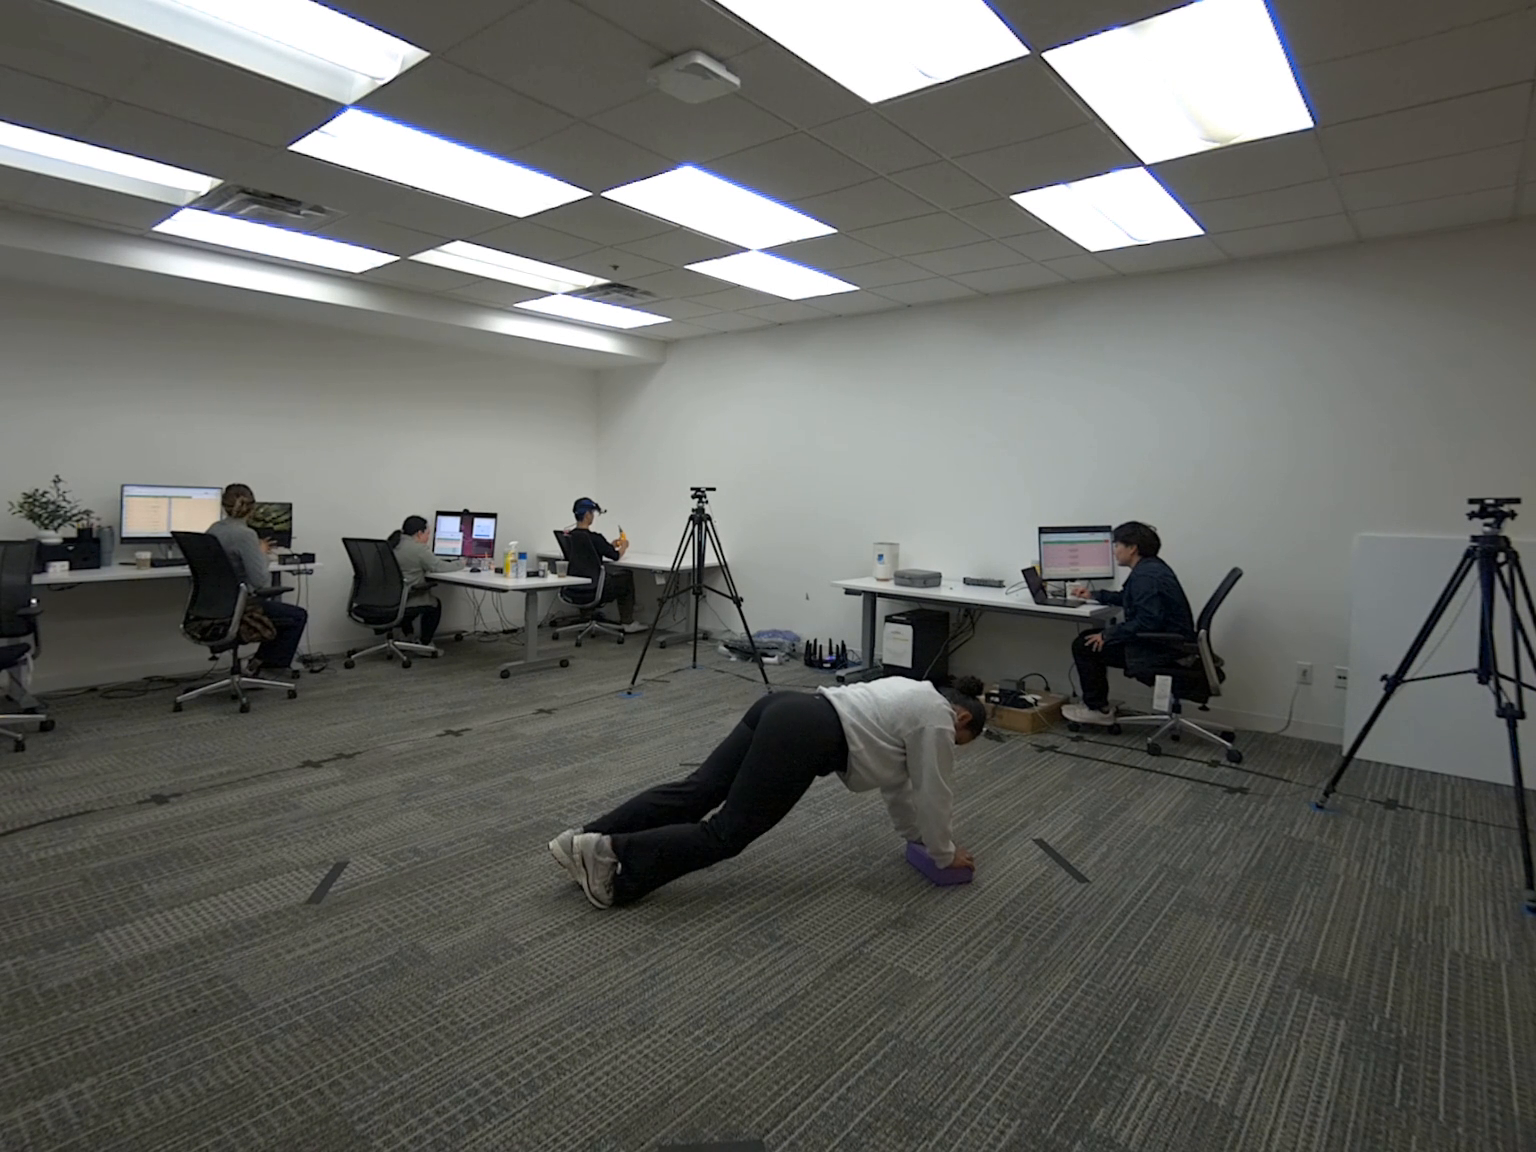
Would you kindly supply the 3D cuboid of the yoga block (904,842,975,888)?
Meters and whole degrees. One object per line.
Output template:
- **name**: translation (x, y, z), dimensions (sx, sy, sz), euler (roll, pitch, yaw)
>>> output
- **yoga block**: translation (0.625, 1.056, 3.138), dimensions (0.146, 0.076, 0.235), euler (0, 6, -20)
